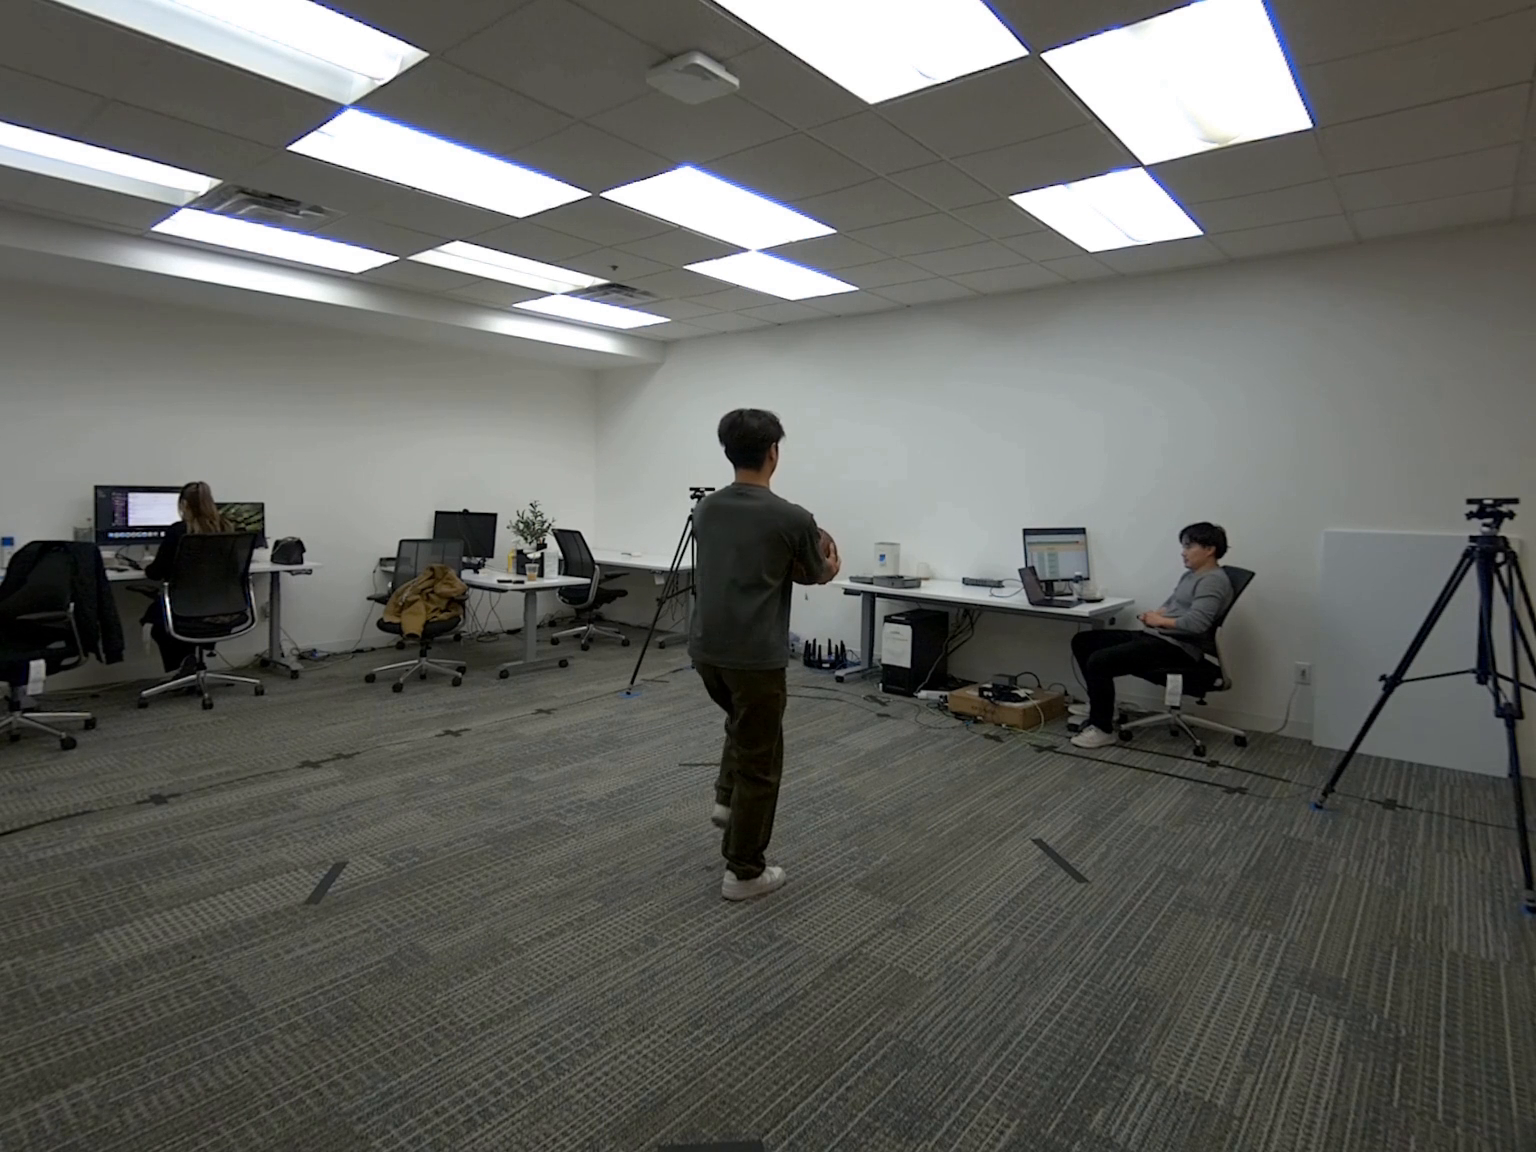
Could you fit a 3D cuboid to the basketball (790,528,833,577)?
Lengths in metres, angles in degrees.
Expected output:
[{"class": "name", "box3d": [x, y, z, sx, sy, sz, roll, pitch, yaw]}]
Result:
[{"class": "basketball", "box3d": [0.151, -0.085, 3.370, 0.235, 0.235, 0.237, 1, 4, -2]}]
